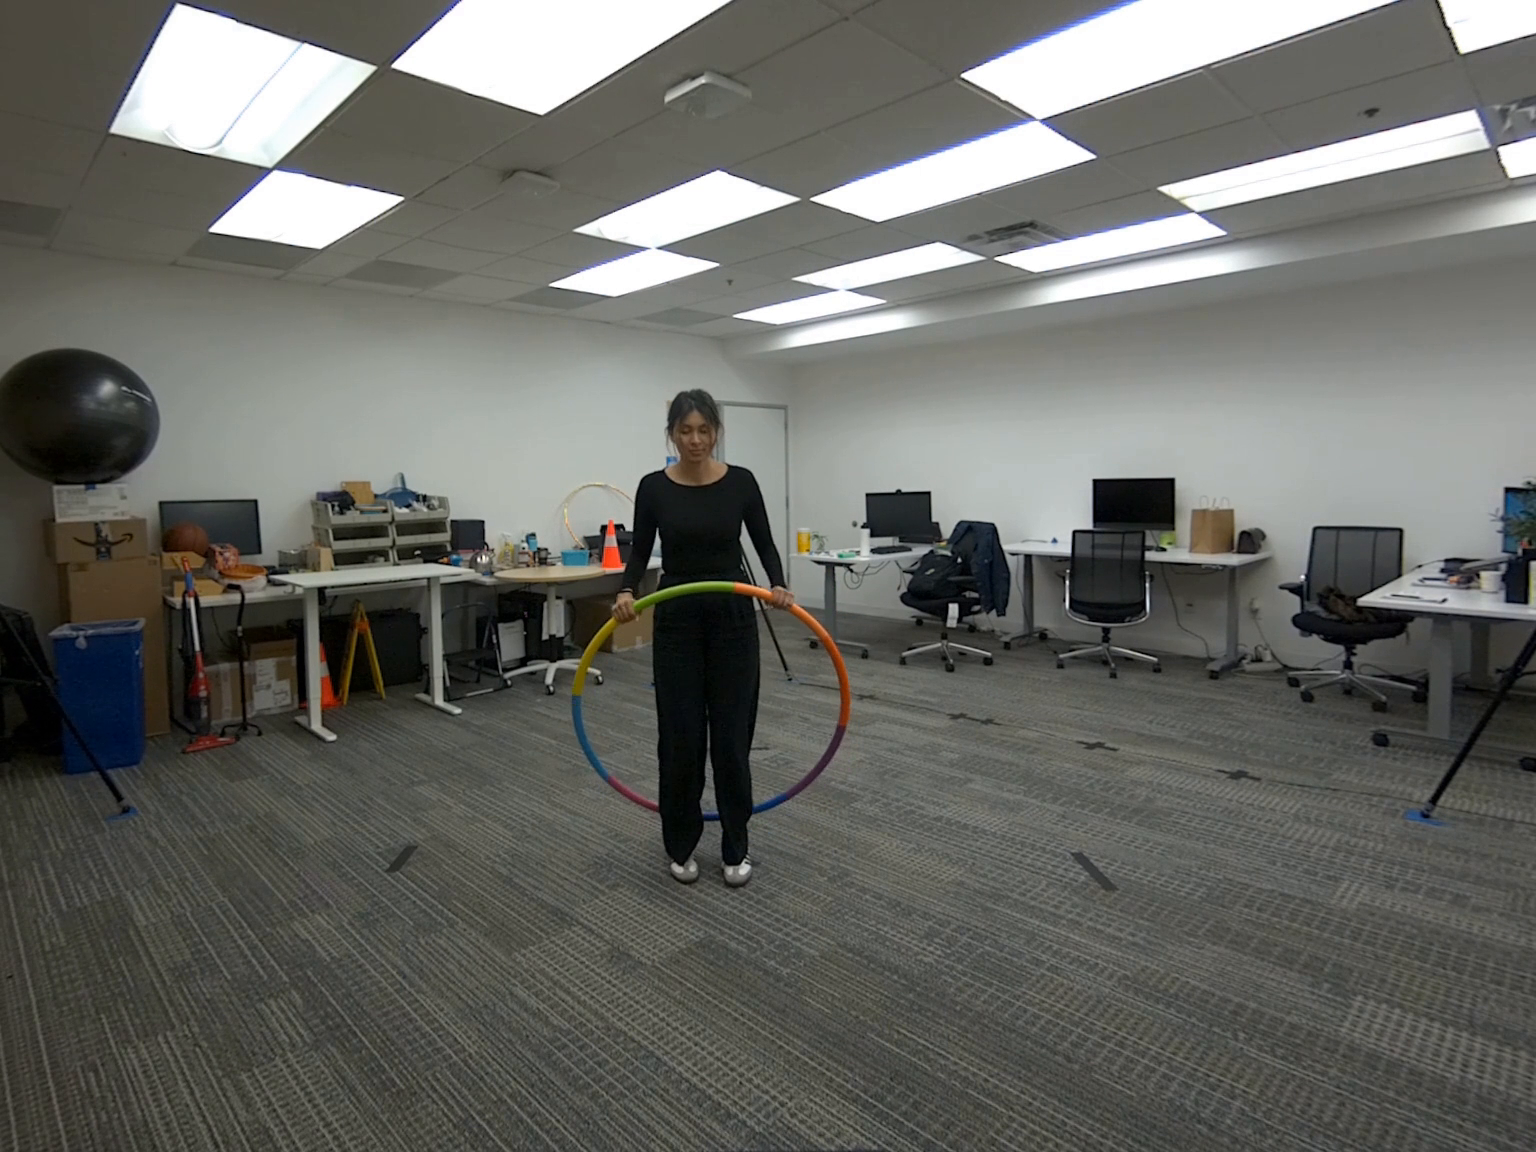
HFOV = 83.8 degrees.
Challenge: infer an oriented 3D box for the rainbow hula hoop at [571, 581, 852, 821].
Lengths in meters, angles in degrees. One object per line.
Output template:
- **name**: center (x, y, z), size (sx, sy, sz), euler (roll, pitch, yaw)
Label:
- **rainbow hula hoop**: center (-0.198, 0.468, 3.014), size (0.978, 0.960, 0.036), euler (0, 23, 0)
